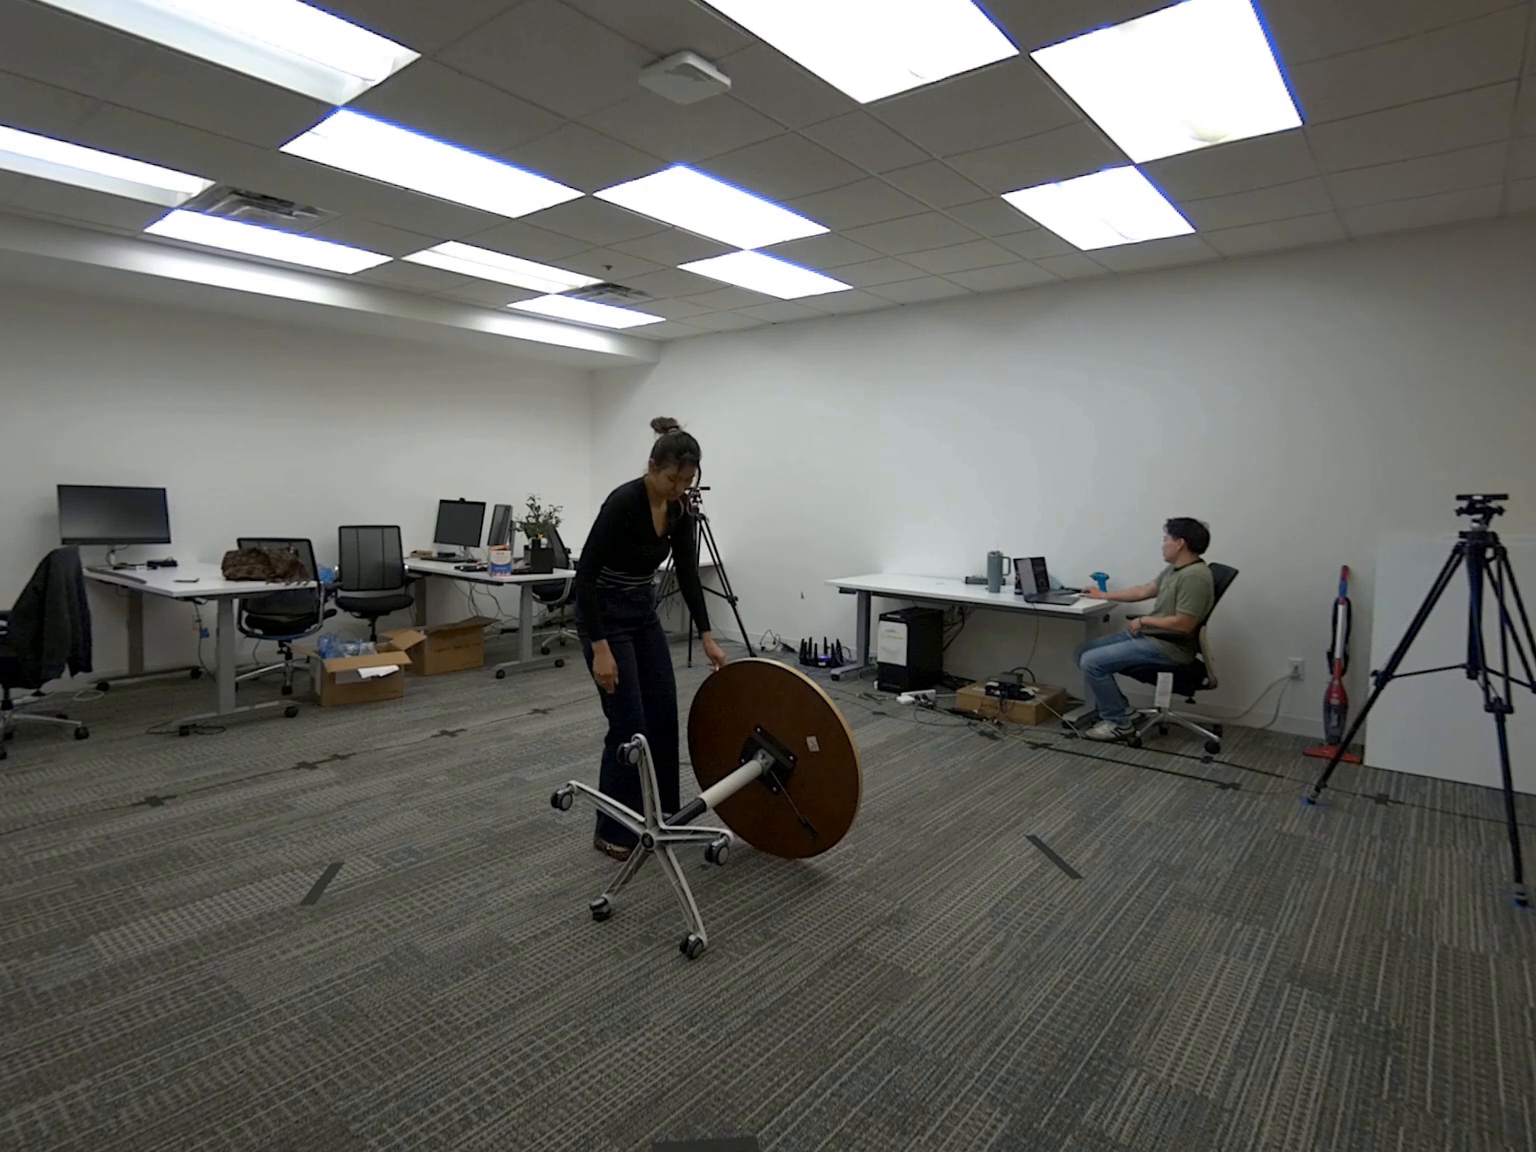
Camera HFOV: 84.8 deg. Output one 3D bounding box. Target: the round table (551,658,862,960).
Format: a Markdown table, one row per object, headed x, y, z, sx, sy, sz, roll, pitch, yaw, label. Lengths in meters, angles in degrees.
| x | y | z | sx | sy | sz | roll | pitch | yaw | label |
| --- | --- | --- | --- | --- | --- | --- | --- | --- | --- |
| -0.216 | 0.761 | 2.884 | 0.788 | 0.756 | 0.777 | 4 | 12 | 35 | round table |
